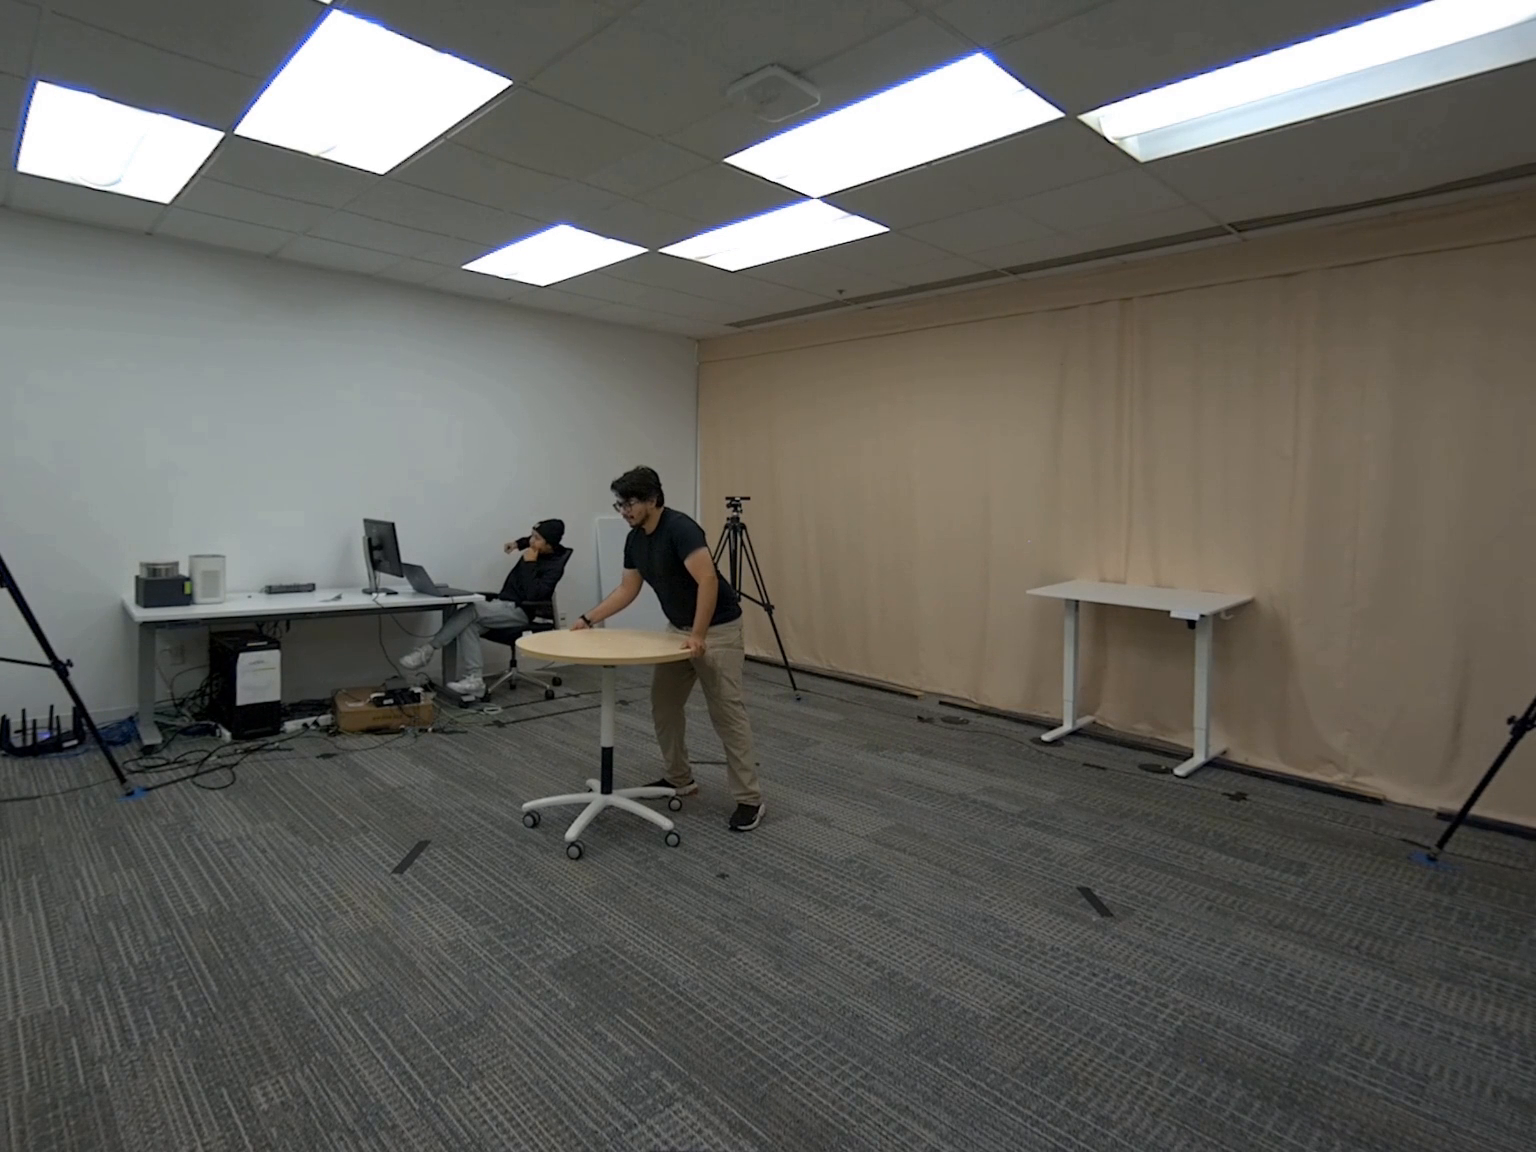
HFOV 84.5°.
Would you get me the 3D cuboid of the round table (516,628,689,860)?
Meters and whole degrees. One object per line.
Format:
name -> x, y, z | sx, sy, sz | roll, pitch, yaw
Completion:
round table -> -0.681, 0.664, 3.521 | 0.784, 0.785, 0.787 | 2, 3, -1
